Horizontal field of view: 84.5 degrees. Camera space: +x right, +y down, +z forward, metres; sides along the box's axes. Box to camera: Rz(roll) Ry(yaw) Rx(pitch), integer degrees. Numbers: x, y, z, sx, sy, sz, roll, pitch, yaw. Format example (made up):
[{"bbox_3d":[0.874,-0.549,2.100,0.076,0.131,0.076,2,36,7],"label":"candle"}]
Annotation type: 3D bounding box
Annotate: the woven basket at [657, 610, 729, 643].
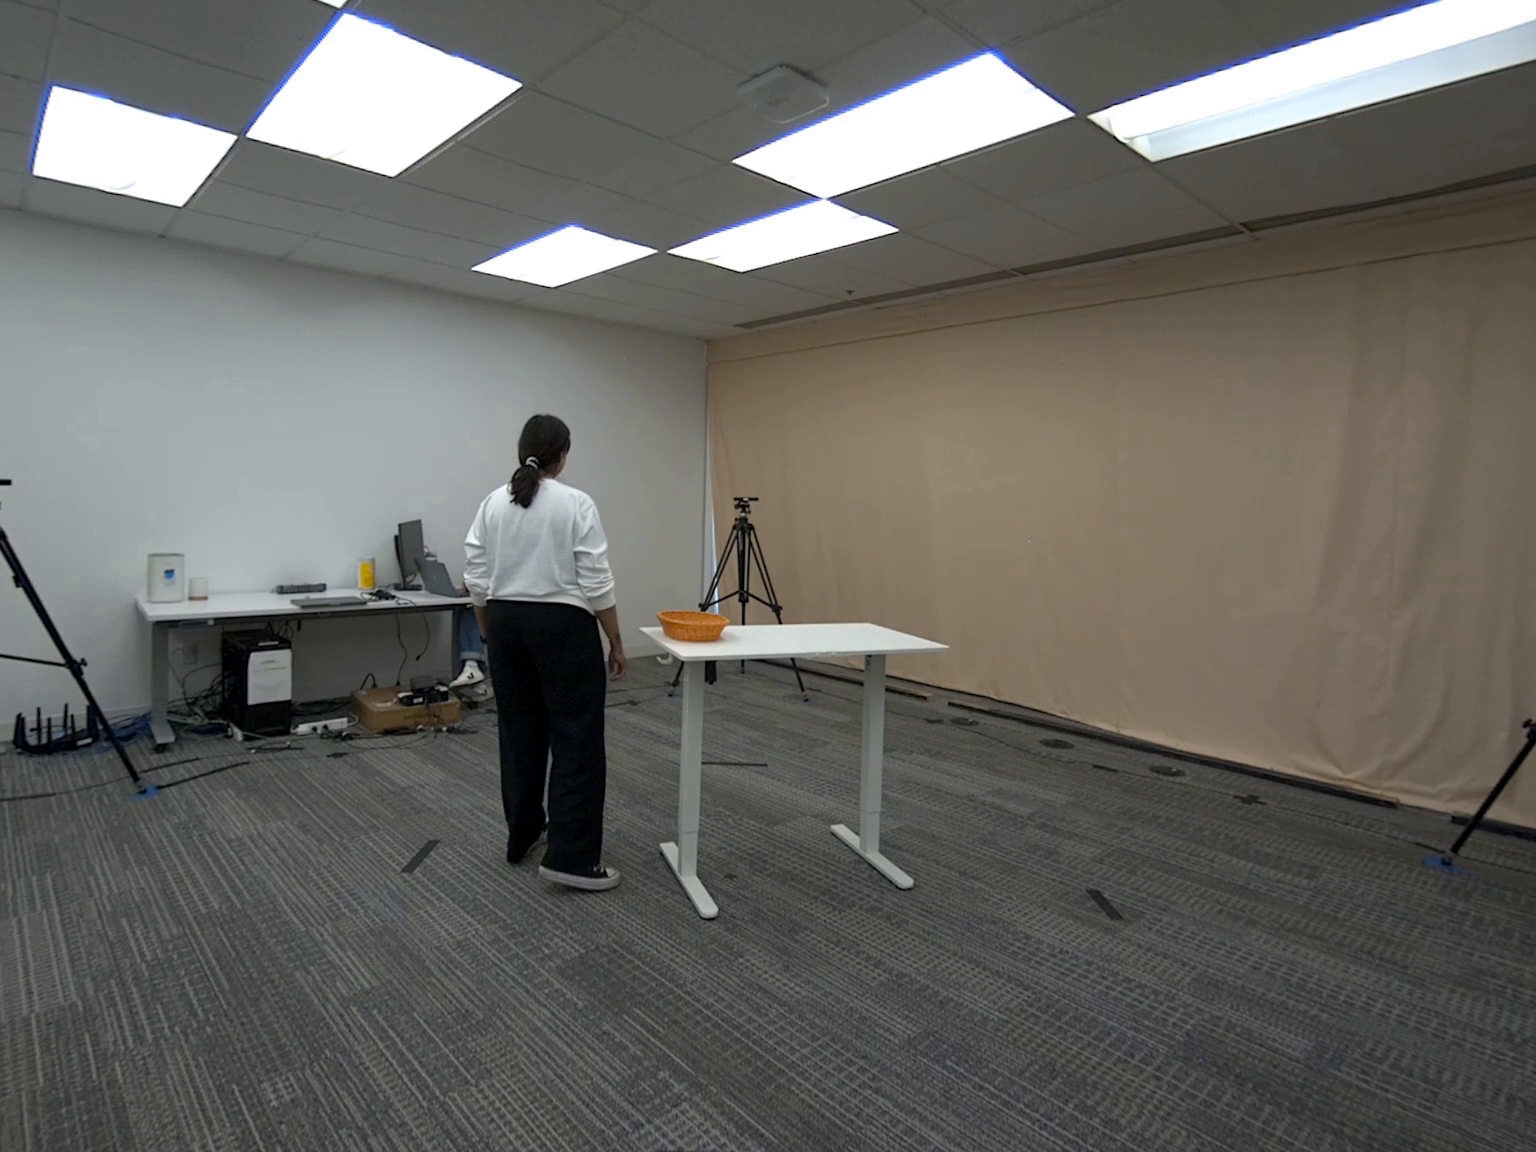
[{"bbox_3d":[-0.302,0.192,3.066,0.250,0.073,0.355,2,4,-13],"label":"woven basket"}]
